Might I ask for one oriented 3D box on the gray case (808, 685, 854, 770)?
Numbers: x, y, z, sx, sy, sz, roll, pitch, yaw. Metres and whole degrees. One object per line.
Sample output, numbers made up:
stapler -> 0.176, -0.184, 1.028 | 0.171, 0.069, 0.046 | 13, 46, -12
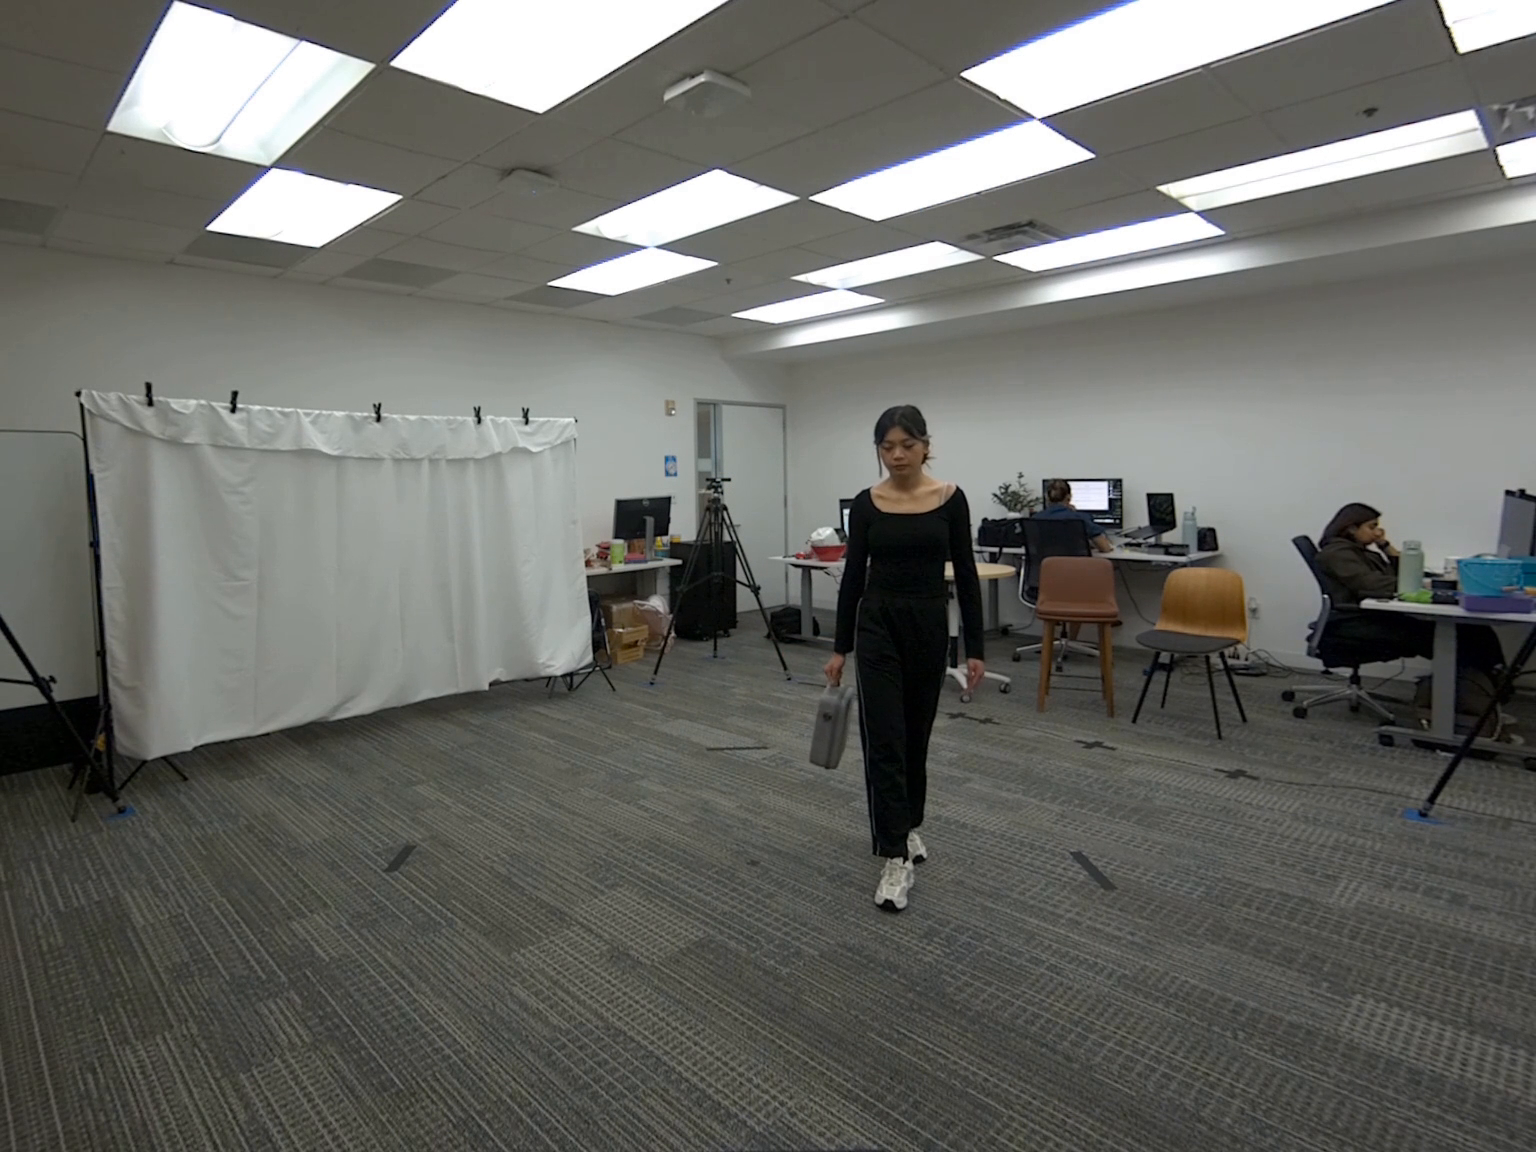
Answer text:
gray case -> 0.236, 0.522, 3.036 | 0.105, 0.260, 0.255 | 6, 5, 8
